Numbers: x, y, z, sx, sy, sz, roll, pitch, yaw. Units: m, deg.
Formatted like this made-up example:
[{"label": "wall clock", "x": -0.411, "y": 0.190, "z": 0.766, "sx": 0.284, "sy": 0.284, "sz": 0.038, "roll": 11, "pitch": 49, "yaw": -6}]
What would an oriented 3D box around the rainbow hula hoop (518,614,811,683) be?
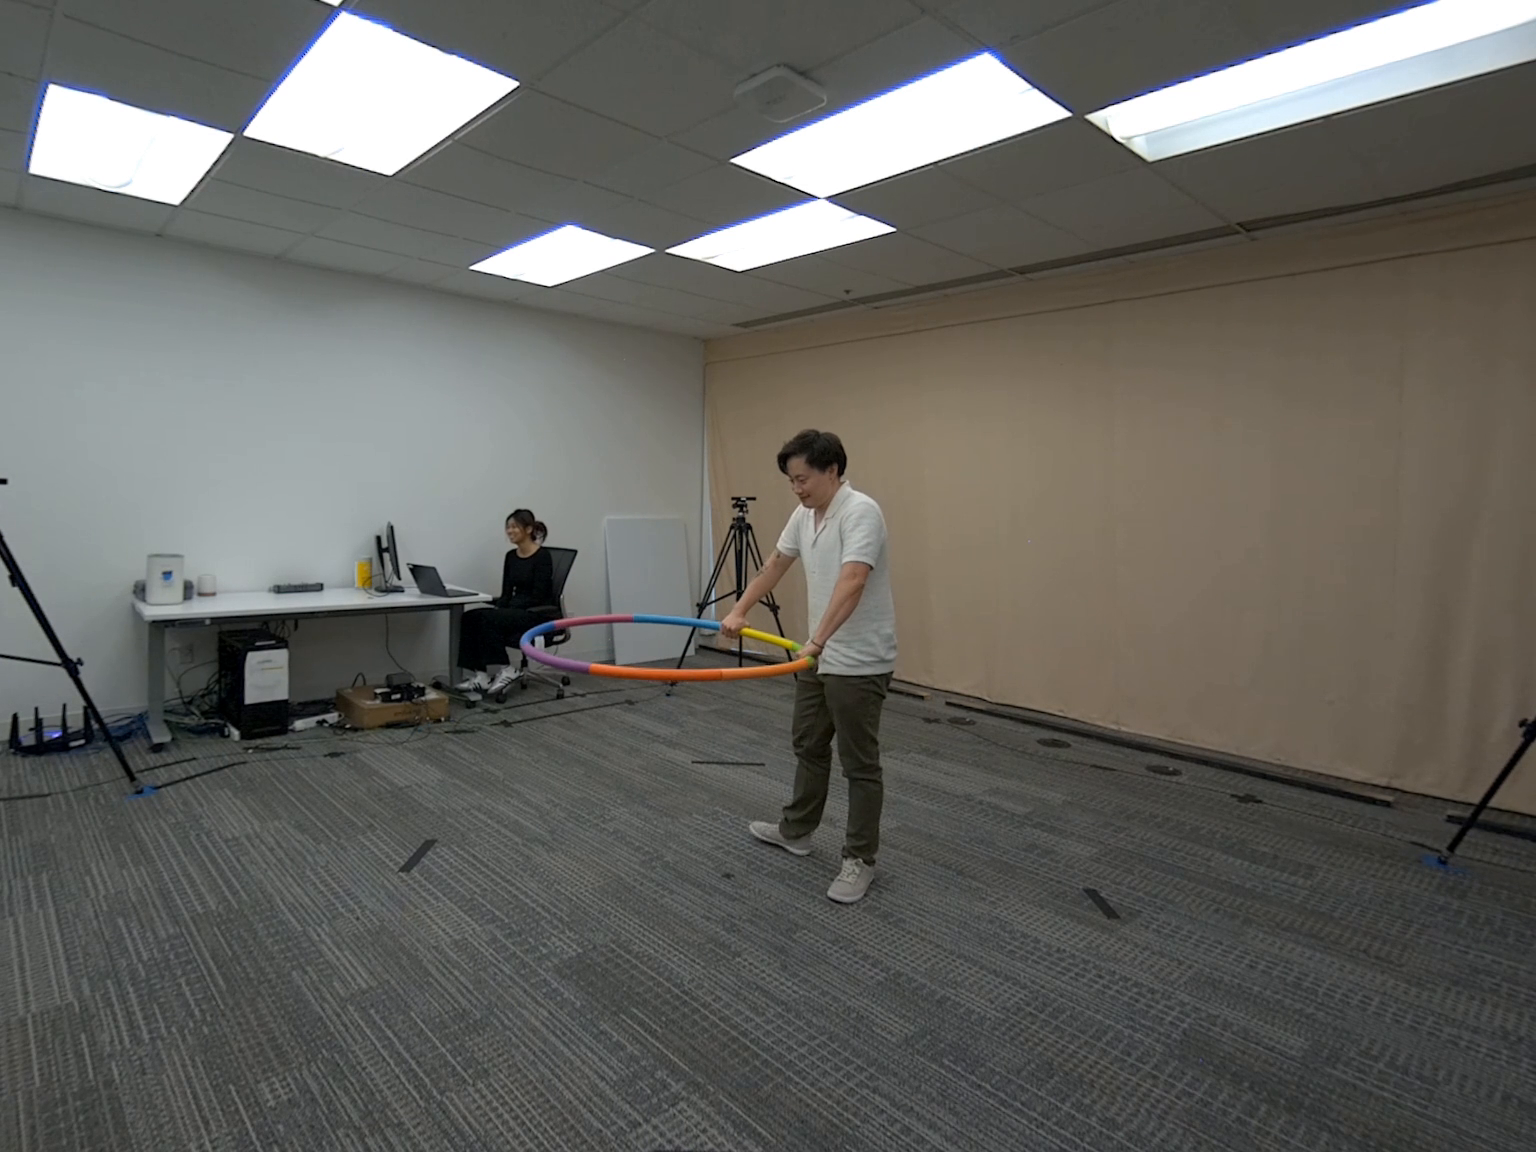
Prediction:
[{"label": "rainbow hula hoop", "x": -0.343, "y": 0.234, "z": 2.838, "sx": 0.978, "sy": 0.035, "sz": 0.983, "roll": 4, "pitch": 6, "yaw": -2}]
